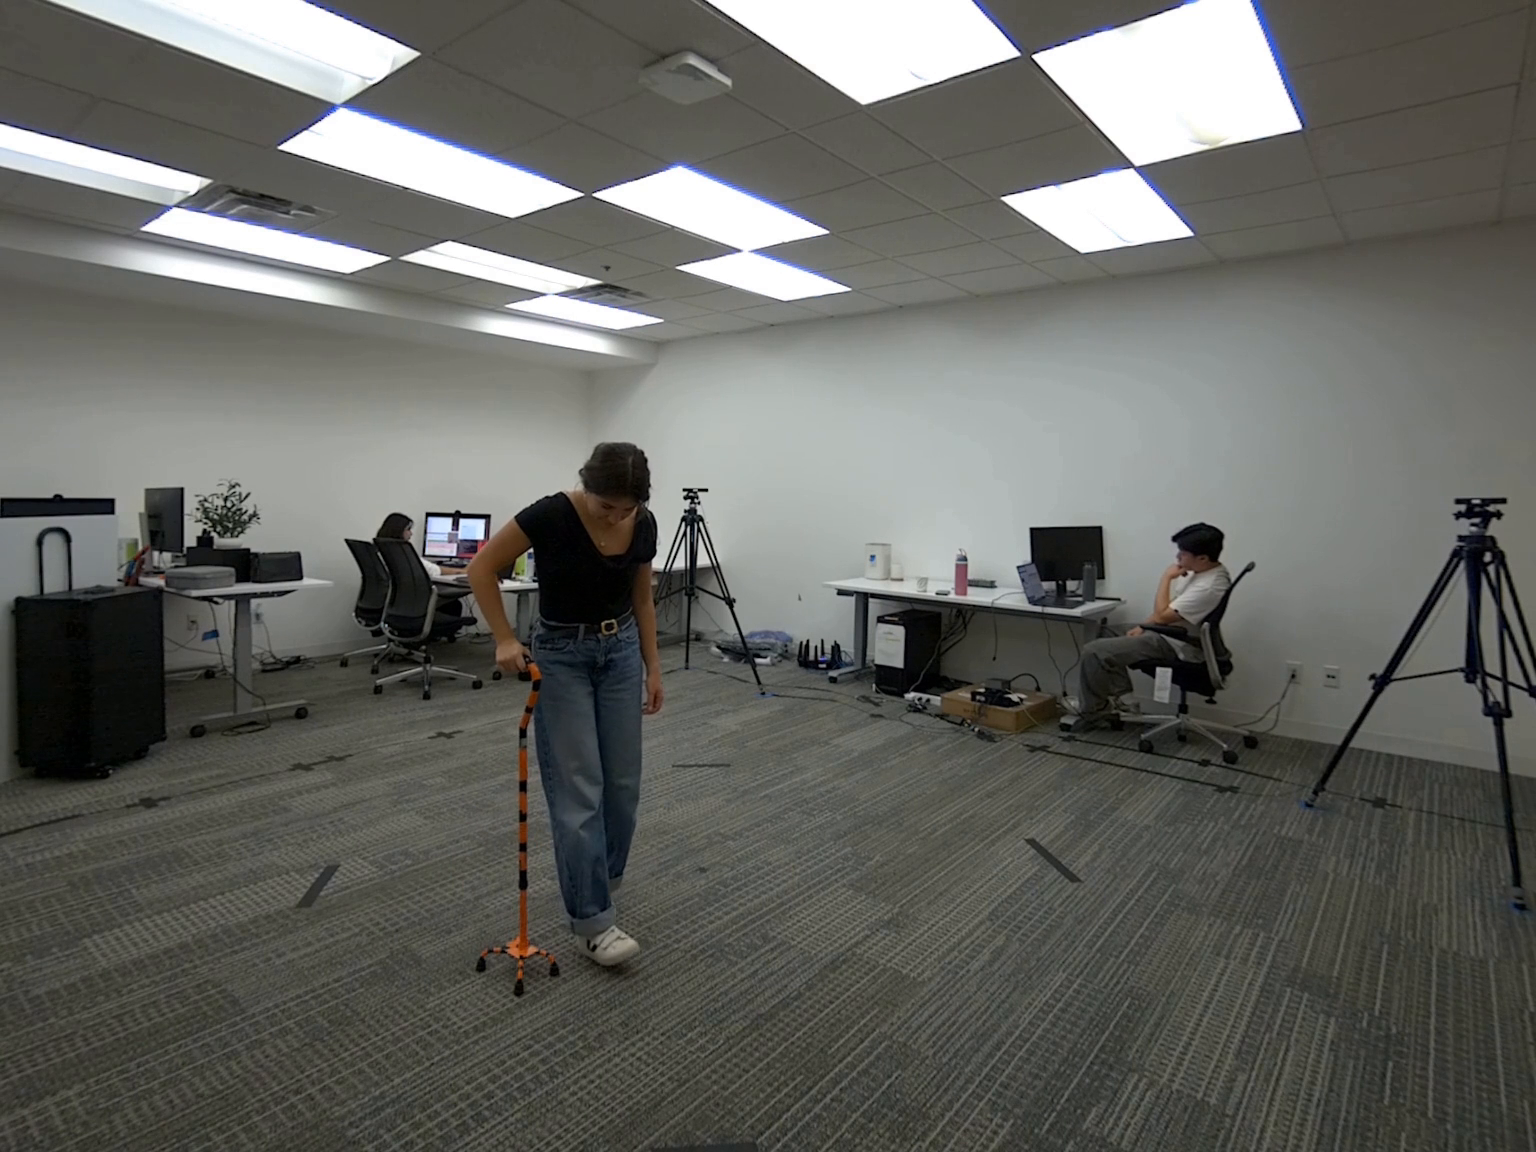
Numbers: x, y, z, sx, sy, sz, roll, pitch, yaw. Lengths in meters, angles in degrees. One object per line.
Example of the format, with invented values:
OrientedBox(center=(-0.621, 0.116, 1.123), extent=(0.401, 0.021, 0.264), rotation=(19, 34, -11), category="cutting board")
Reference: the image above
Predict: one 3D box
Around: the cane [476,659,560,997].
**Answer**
OrientedBox(center=(-0.718, 0.679, 2.412), extent=(0.213, 0.905, 0.147), rotation=(4, 4, 37), category="cane")
